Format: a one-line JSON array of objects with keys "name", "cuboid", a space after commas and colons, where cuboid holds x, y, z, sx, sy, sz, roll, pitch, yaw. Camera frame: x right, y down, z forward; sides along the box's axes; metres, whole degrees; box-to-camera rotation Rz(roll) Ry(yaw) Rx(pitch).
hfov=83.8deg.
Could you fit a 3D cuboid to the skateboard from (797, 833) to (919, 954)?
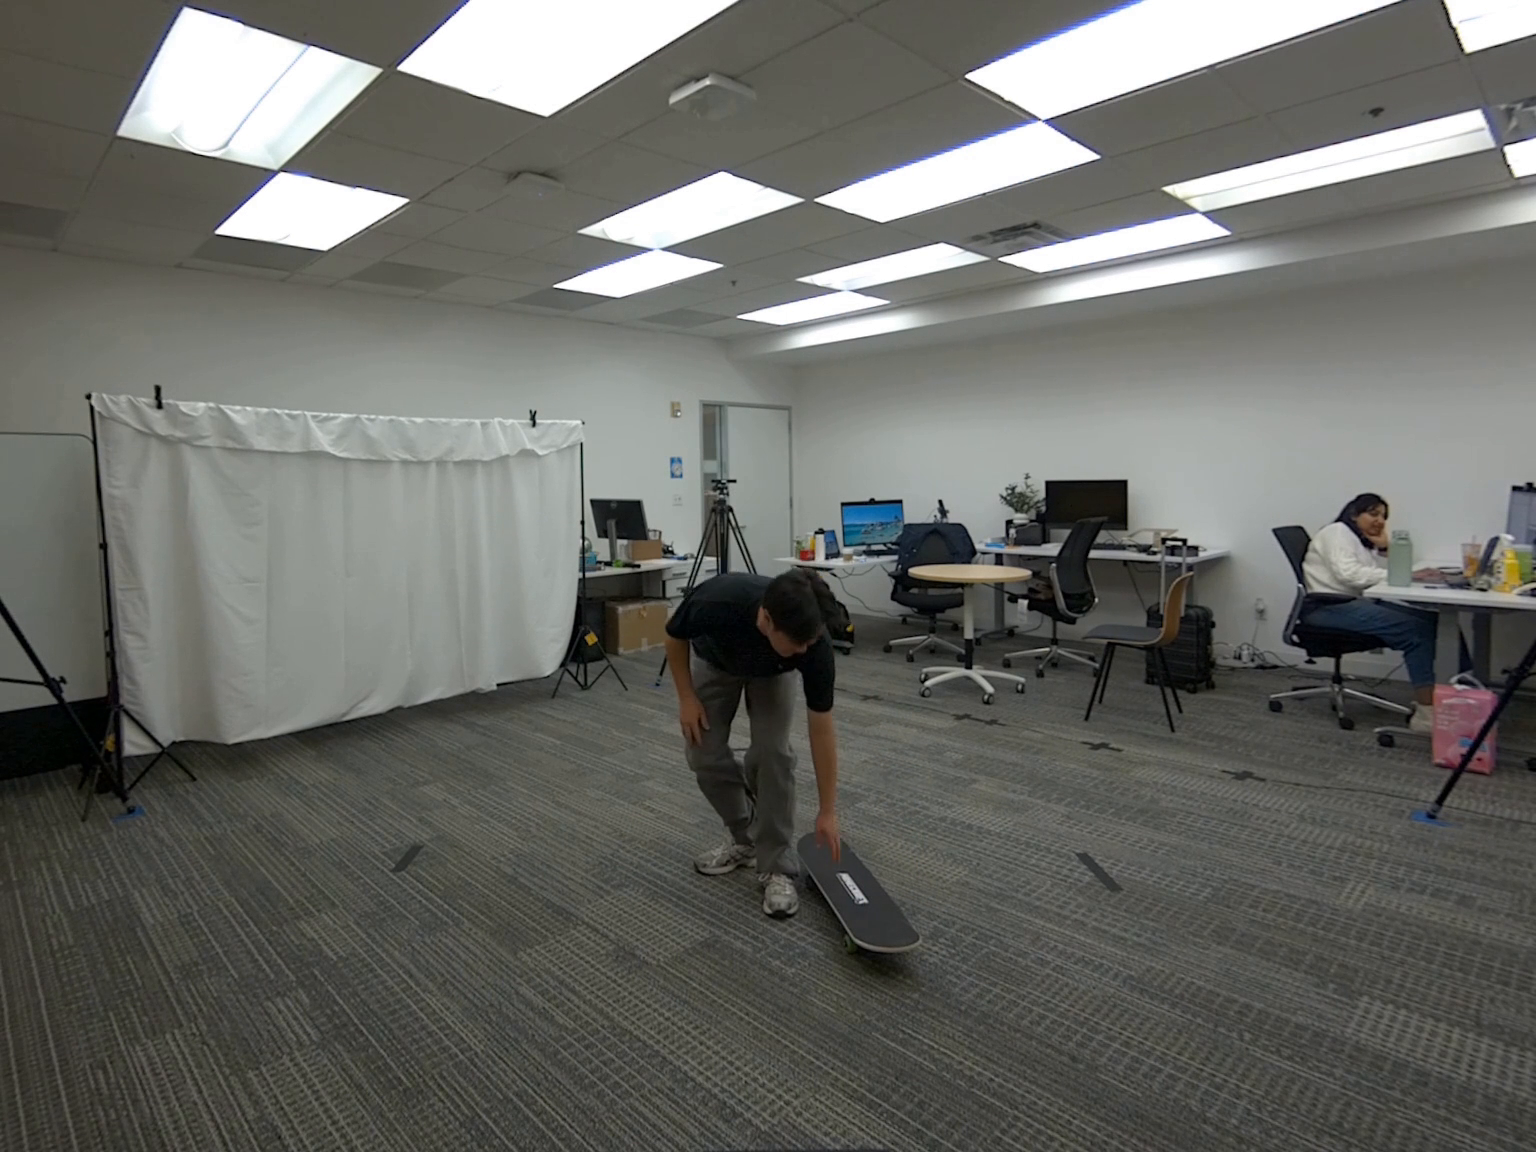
[{"name": "skateboard", "cuboid": [0.282, 1.033, 2.723, 0.191, 0.110, 0.797, -3, 7, -12]}]
